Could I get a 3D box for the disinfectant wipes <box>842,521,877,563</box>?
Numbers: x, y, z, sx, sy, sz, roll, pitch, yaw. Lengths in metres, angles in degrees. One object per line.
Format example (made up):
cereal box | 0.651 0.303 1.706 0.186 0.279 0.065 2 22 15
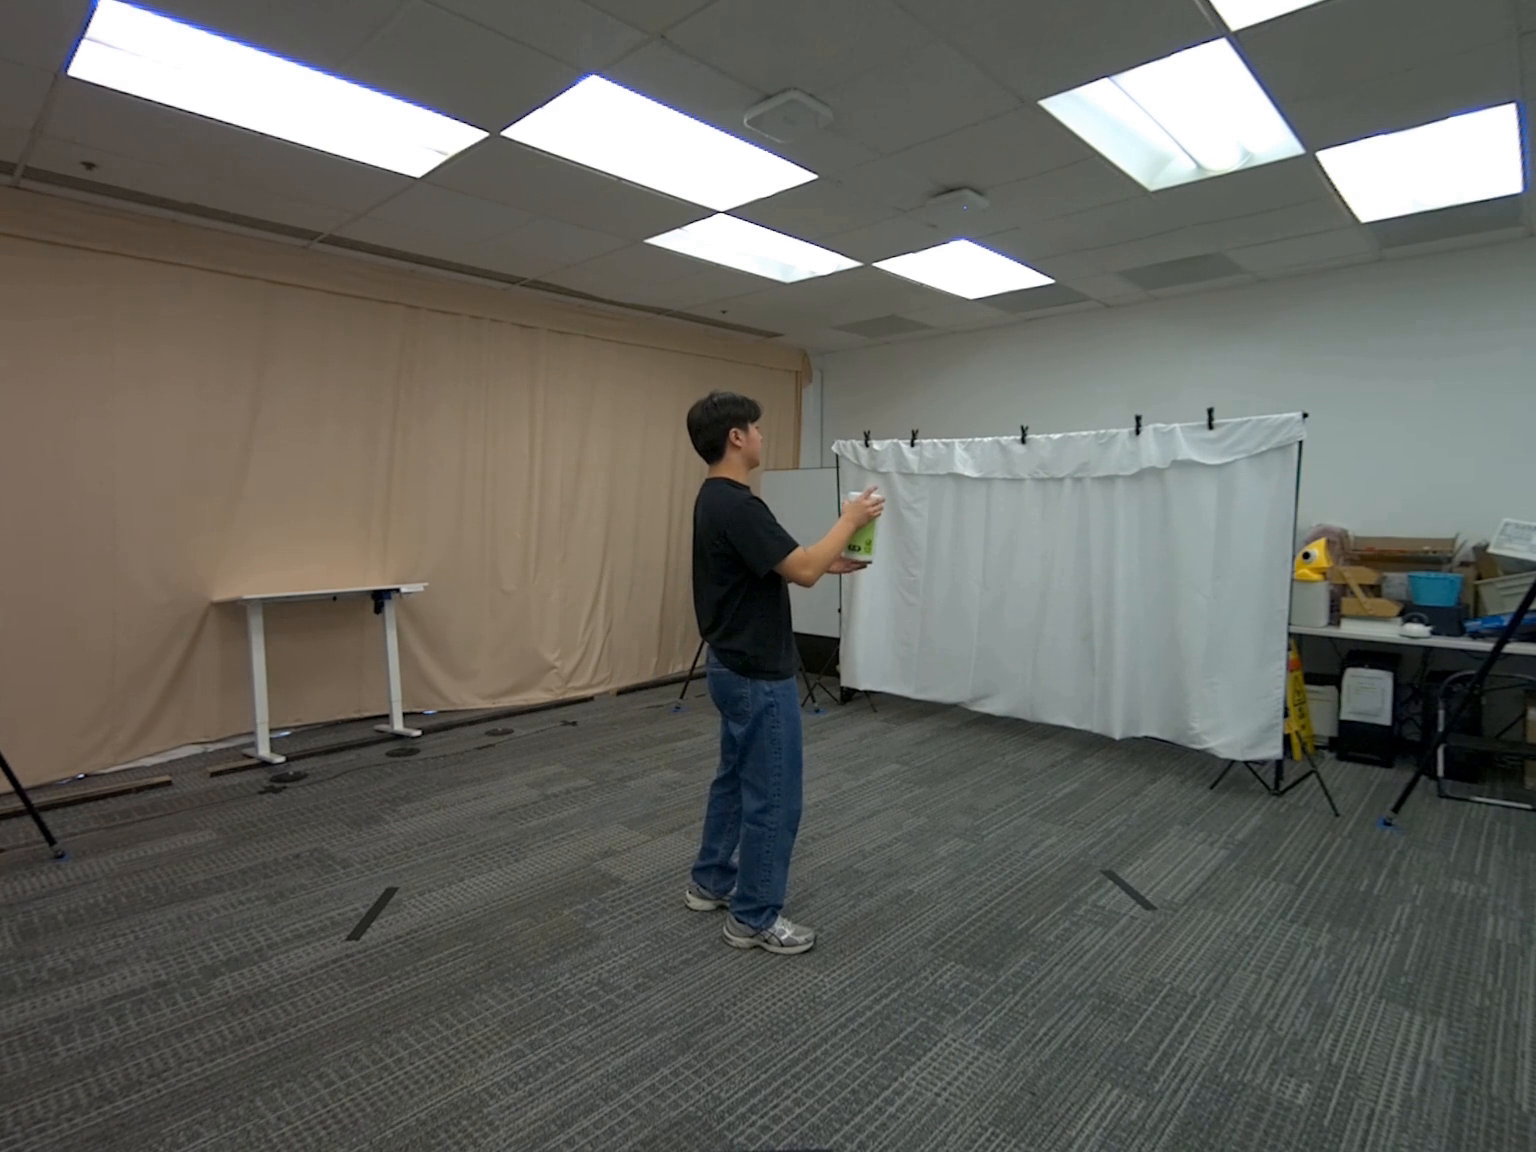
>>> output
disinfectant wipes | 0.291 -0.159 2.718 0.117 0.216 0.118 6 8 -3
